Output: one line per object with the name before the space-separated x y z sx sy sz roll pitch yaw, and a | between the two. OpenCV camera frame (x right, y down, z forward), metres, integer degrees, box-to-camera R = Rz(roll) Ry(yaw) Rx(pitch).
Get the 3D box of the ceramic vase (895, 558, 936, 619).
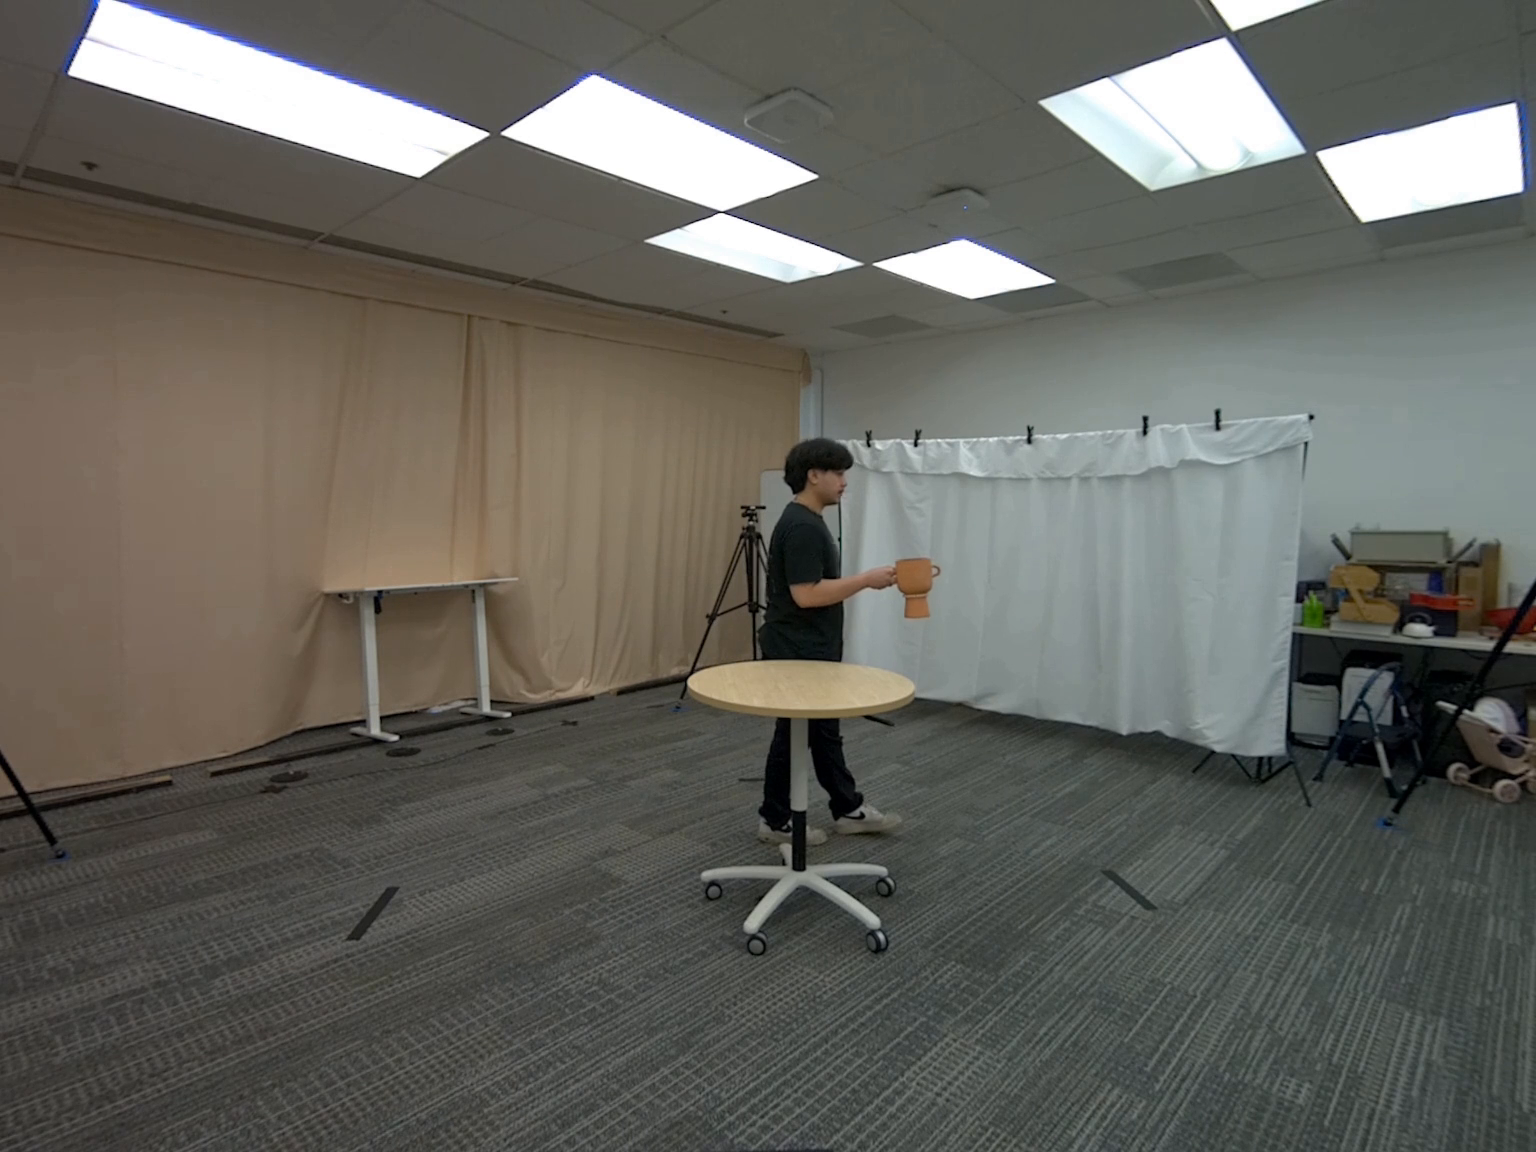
ceramic vase | 0.570 0.044 3.209 0.130 0.219 0.164 -5 2 -41
